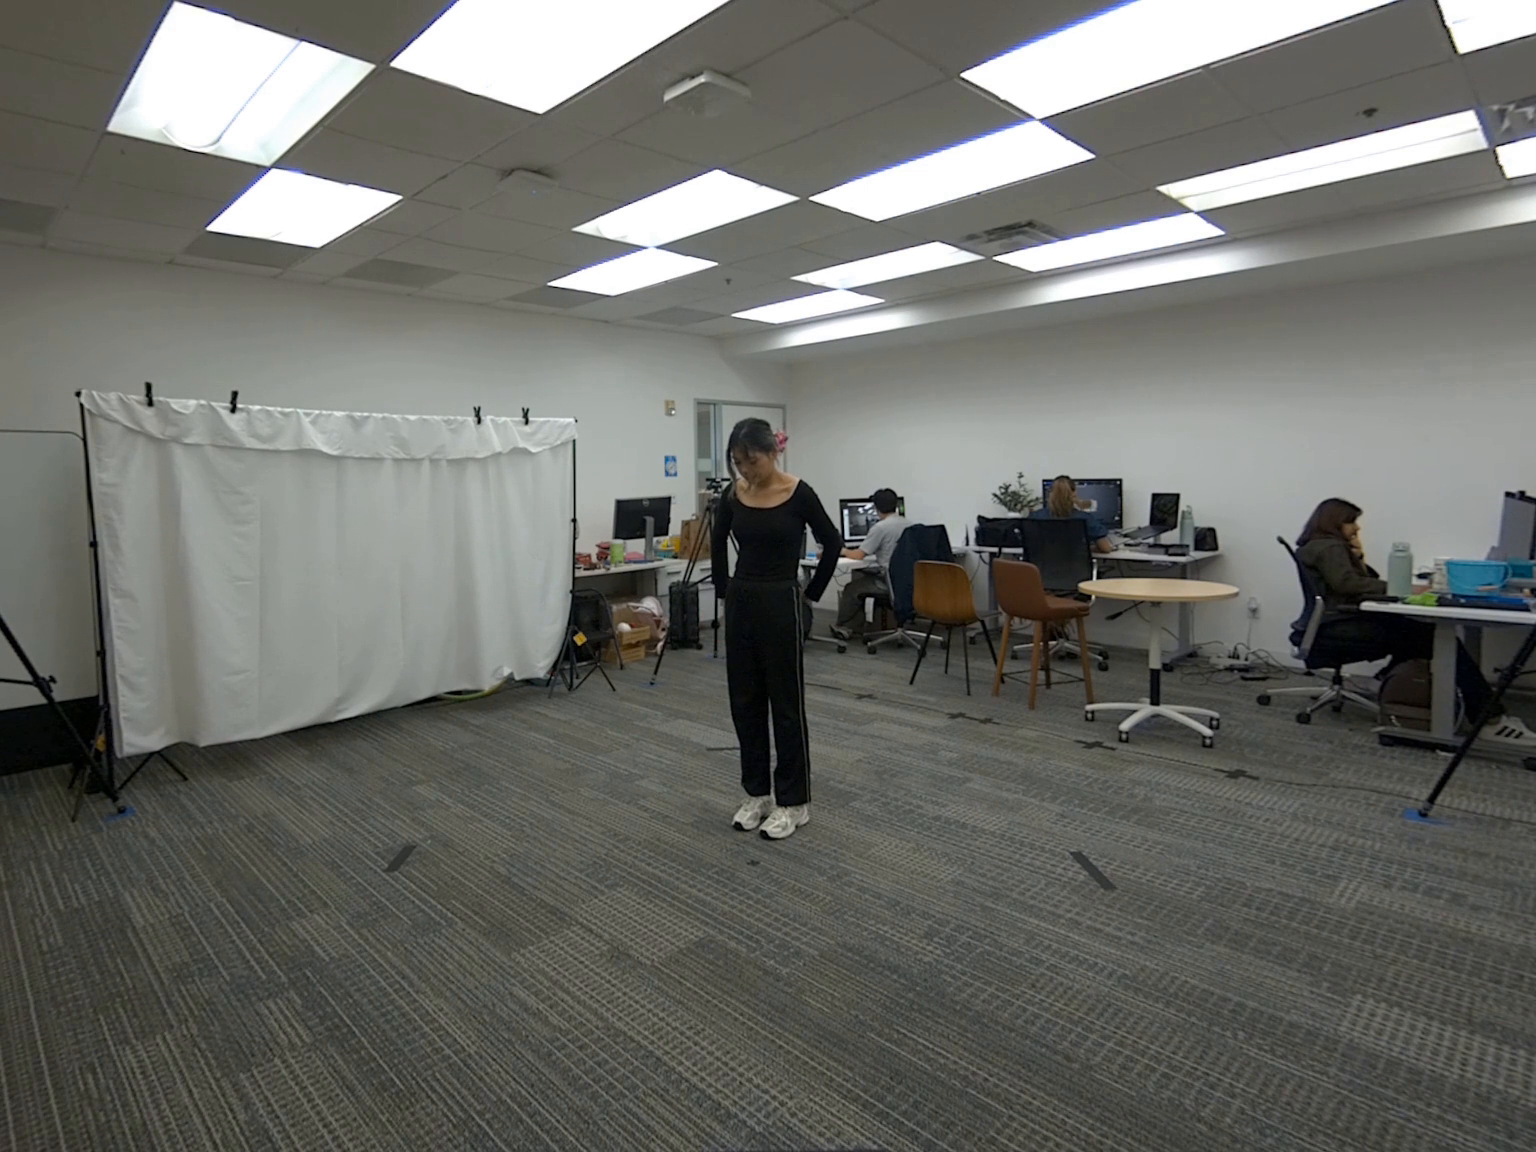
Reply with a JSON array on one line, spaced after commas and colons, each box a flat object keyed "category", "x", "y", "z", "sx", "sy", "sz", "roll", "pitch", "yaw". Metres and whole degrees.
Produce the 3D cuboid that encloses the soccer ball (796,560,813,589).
[{"category": "soccer ball", "x": 0.070, "y": 0.017, "z": 3.601, "sx": 0.187, "sy": 0.187, "sz": 0.188, "roll": -1, "pitch": 5, "yaw": -2}]
